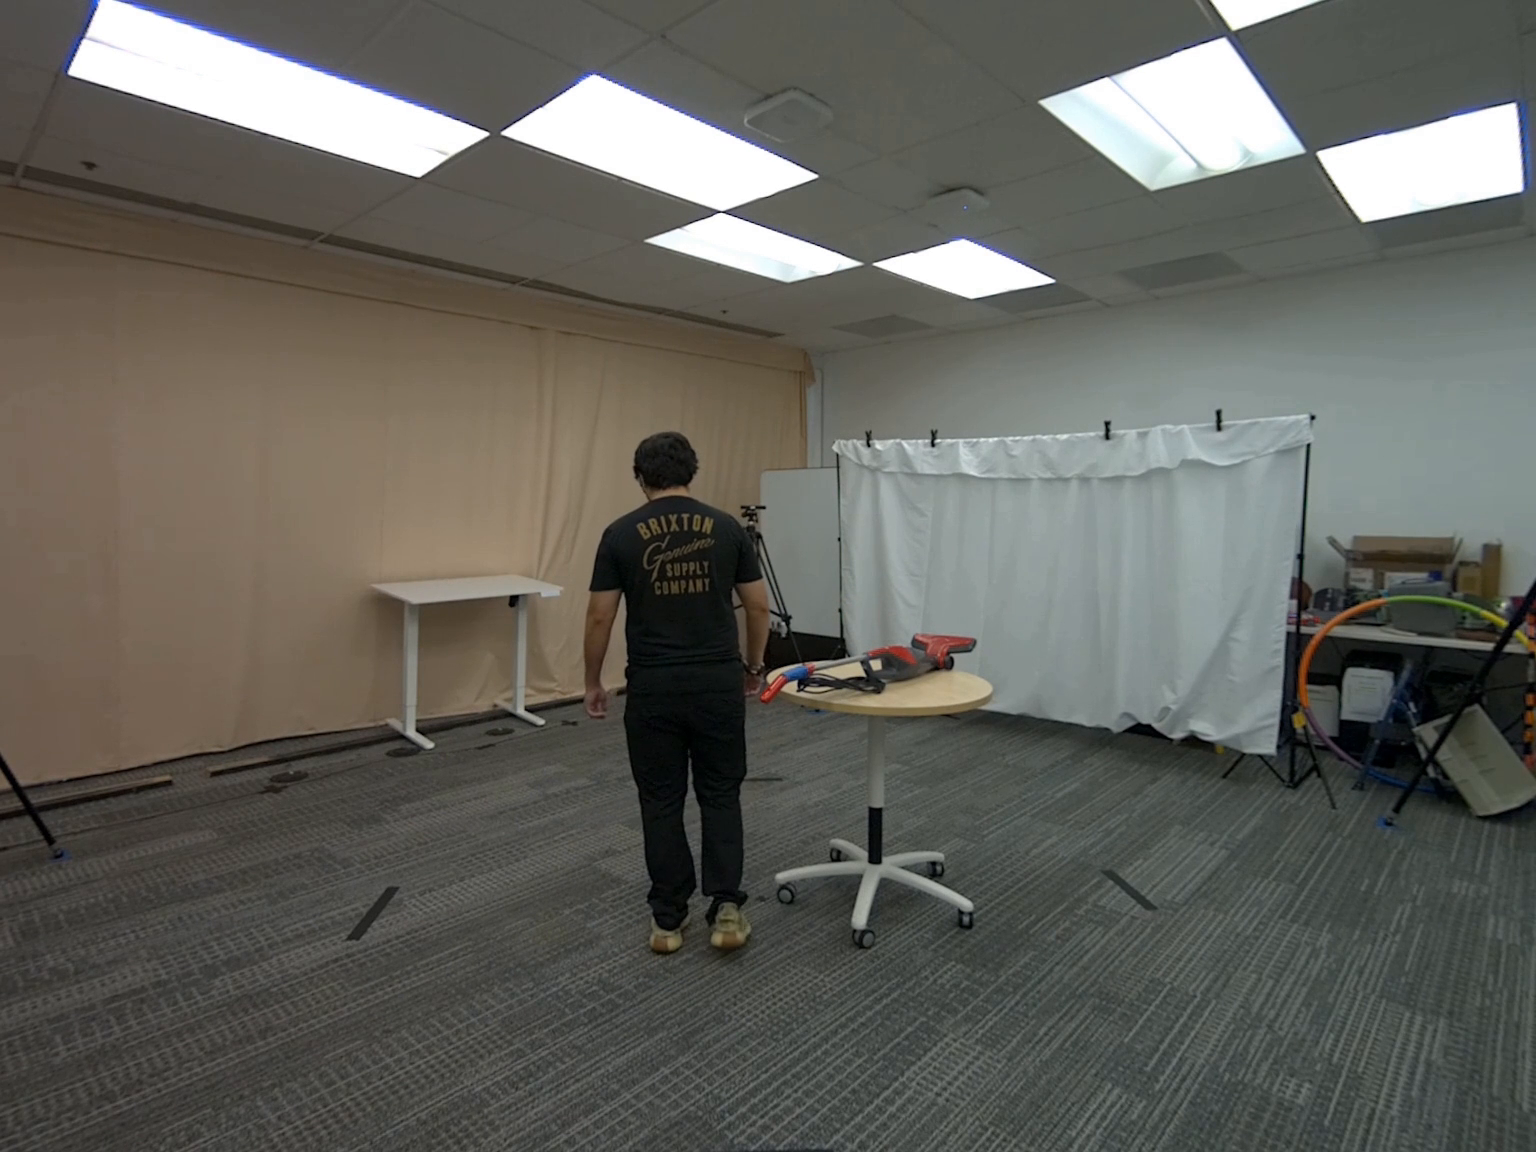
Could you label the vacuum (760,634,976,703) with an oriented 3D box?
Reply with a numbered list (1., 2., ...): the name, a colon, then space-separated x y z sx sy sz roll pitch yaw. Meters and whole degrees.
1. vacuum: 0.342 0.329 2.780 0.260 0.144 1.017 -6 -1 42
